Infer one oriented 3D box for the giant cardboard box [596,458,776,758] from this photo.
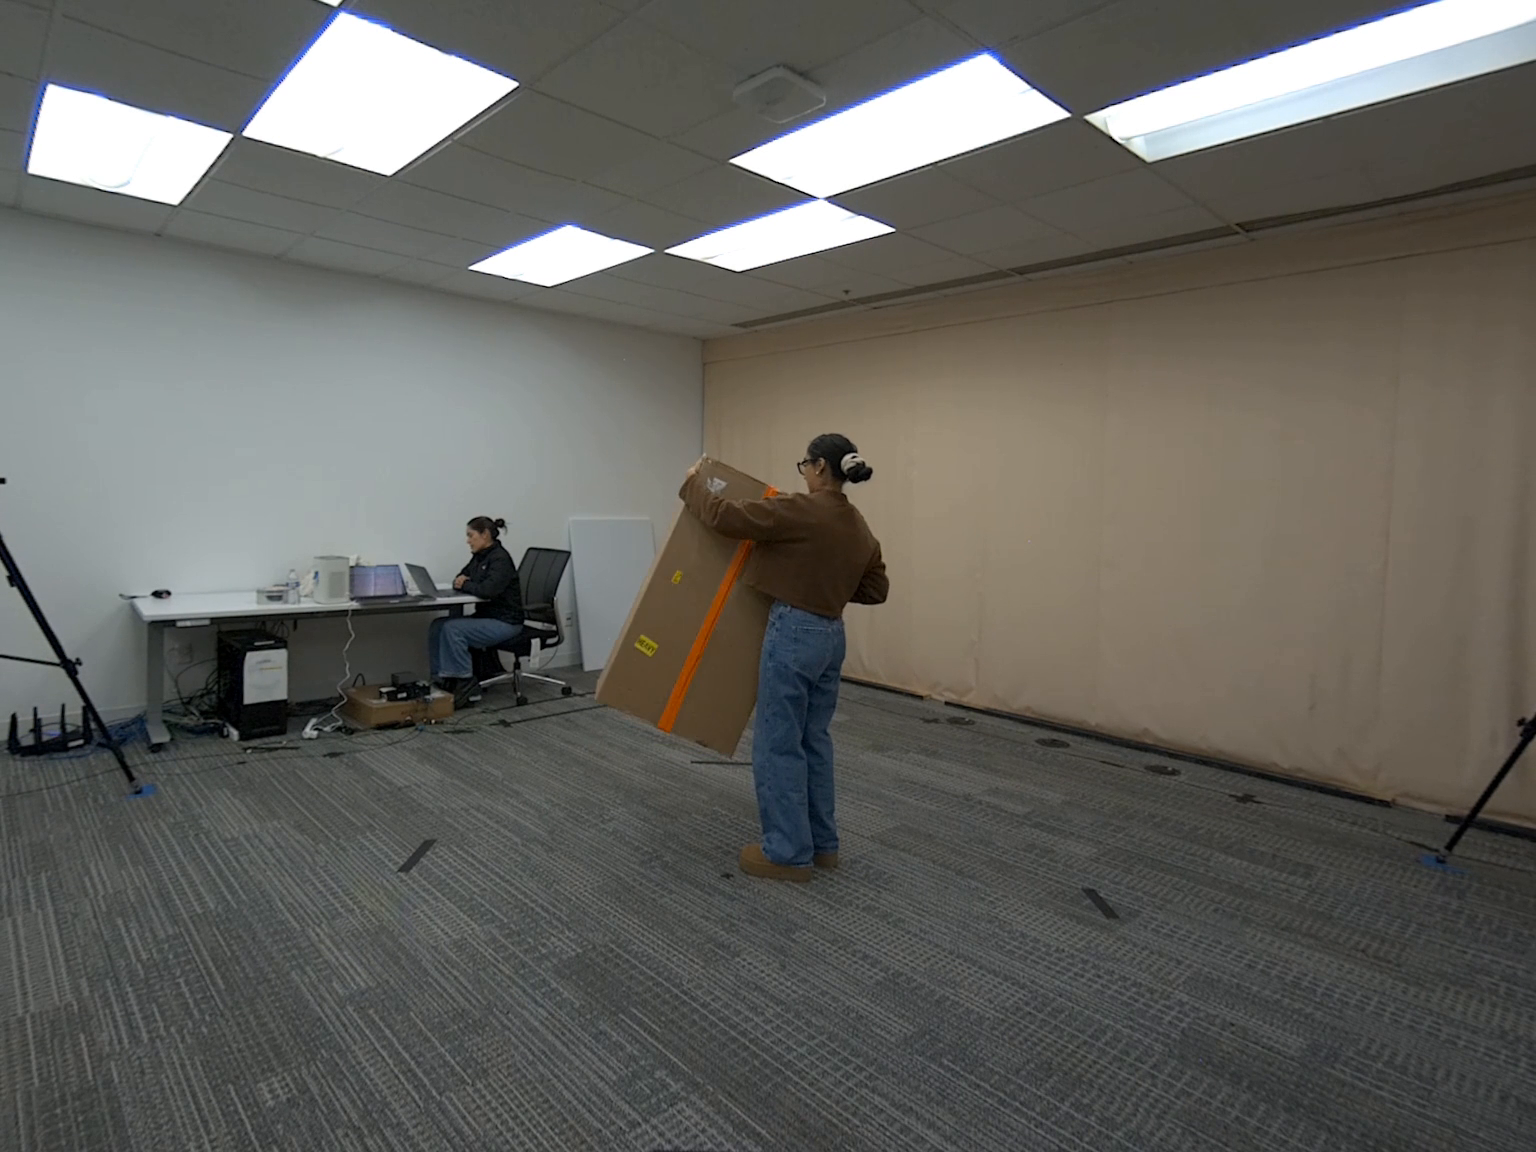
[{"bbox_3d":[-0.223,0.116,3.433,0.574,1.026,0.428,24,-2,-6],"label":"giant cardboard box"}]
